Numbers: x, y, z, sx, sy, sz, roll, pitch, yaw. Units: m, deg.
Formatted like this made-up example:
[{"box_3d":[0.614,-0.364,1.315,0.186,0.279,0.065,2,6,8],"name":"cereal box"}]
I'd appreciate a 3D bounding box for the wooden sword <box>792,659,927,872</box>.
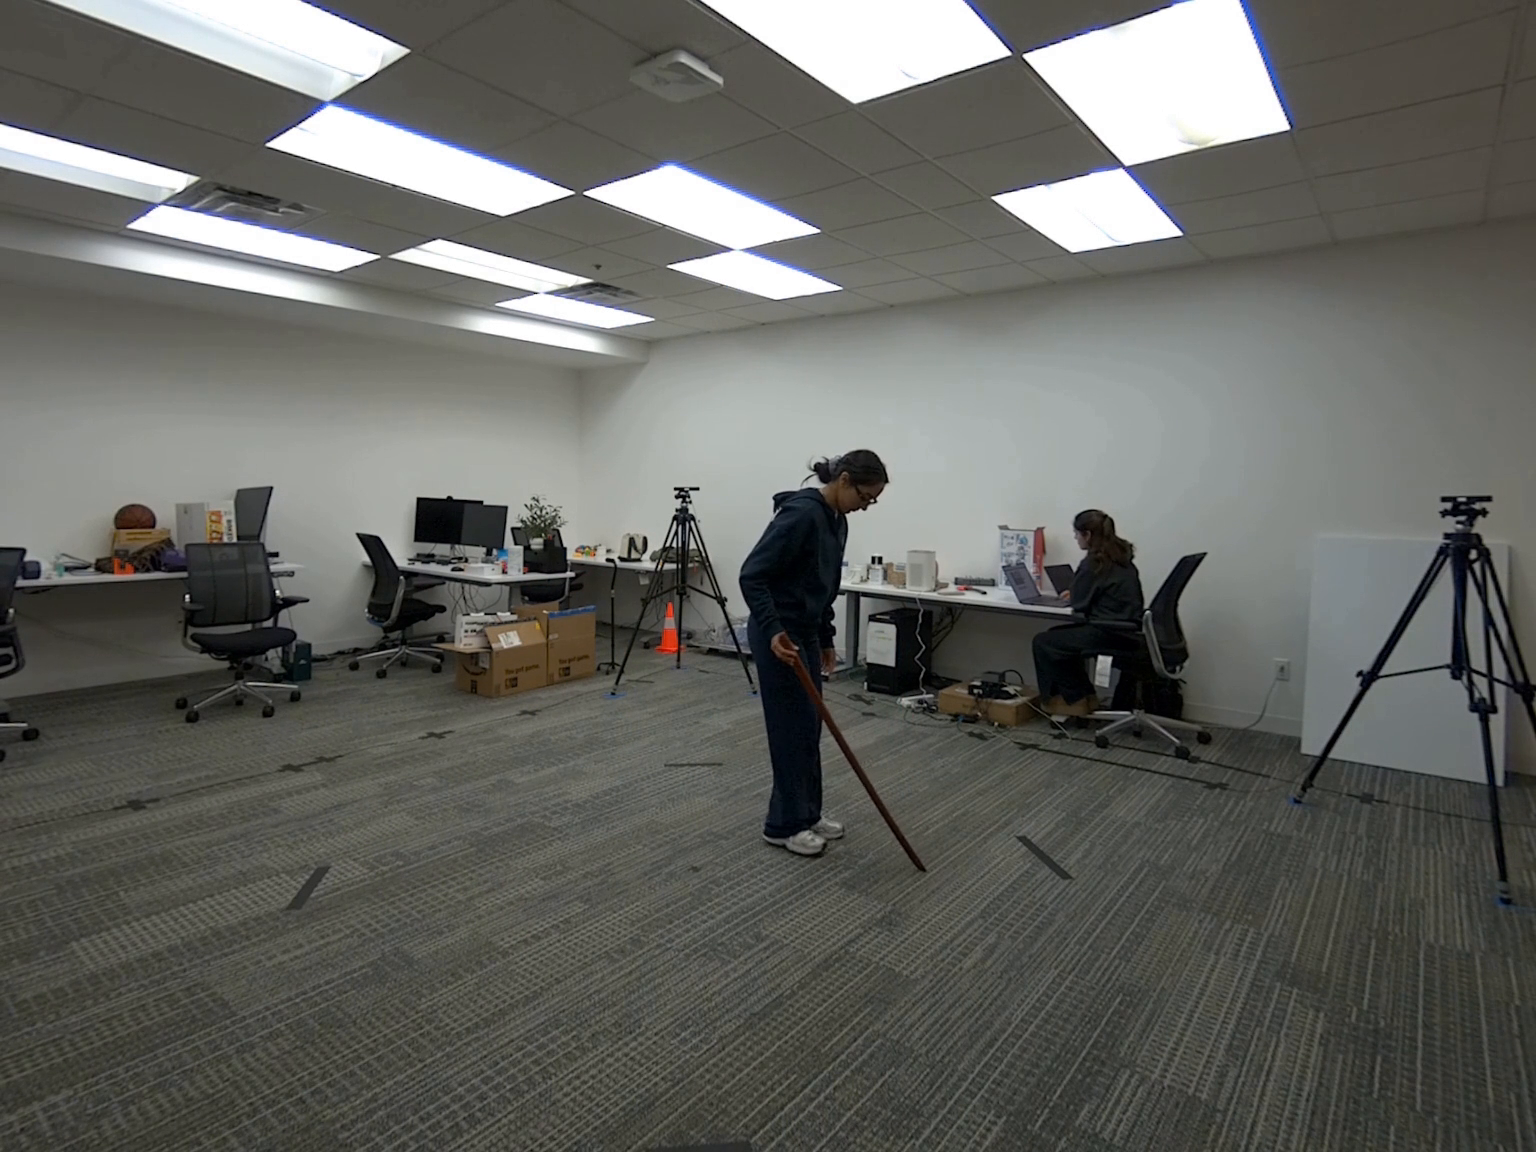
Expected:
[{"box_3d":[0.302,0.659,3.096,0.024,1.015,0.051,-31,7,10],"name":"wooden sword"}]
